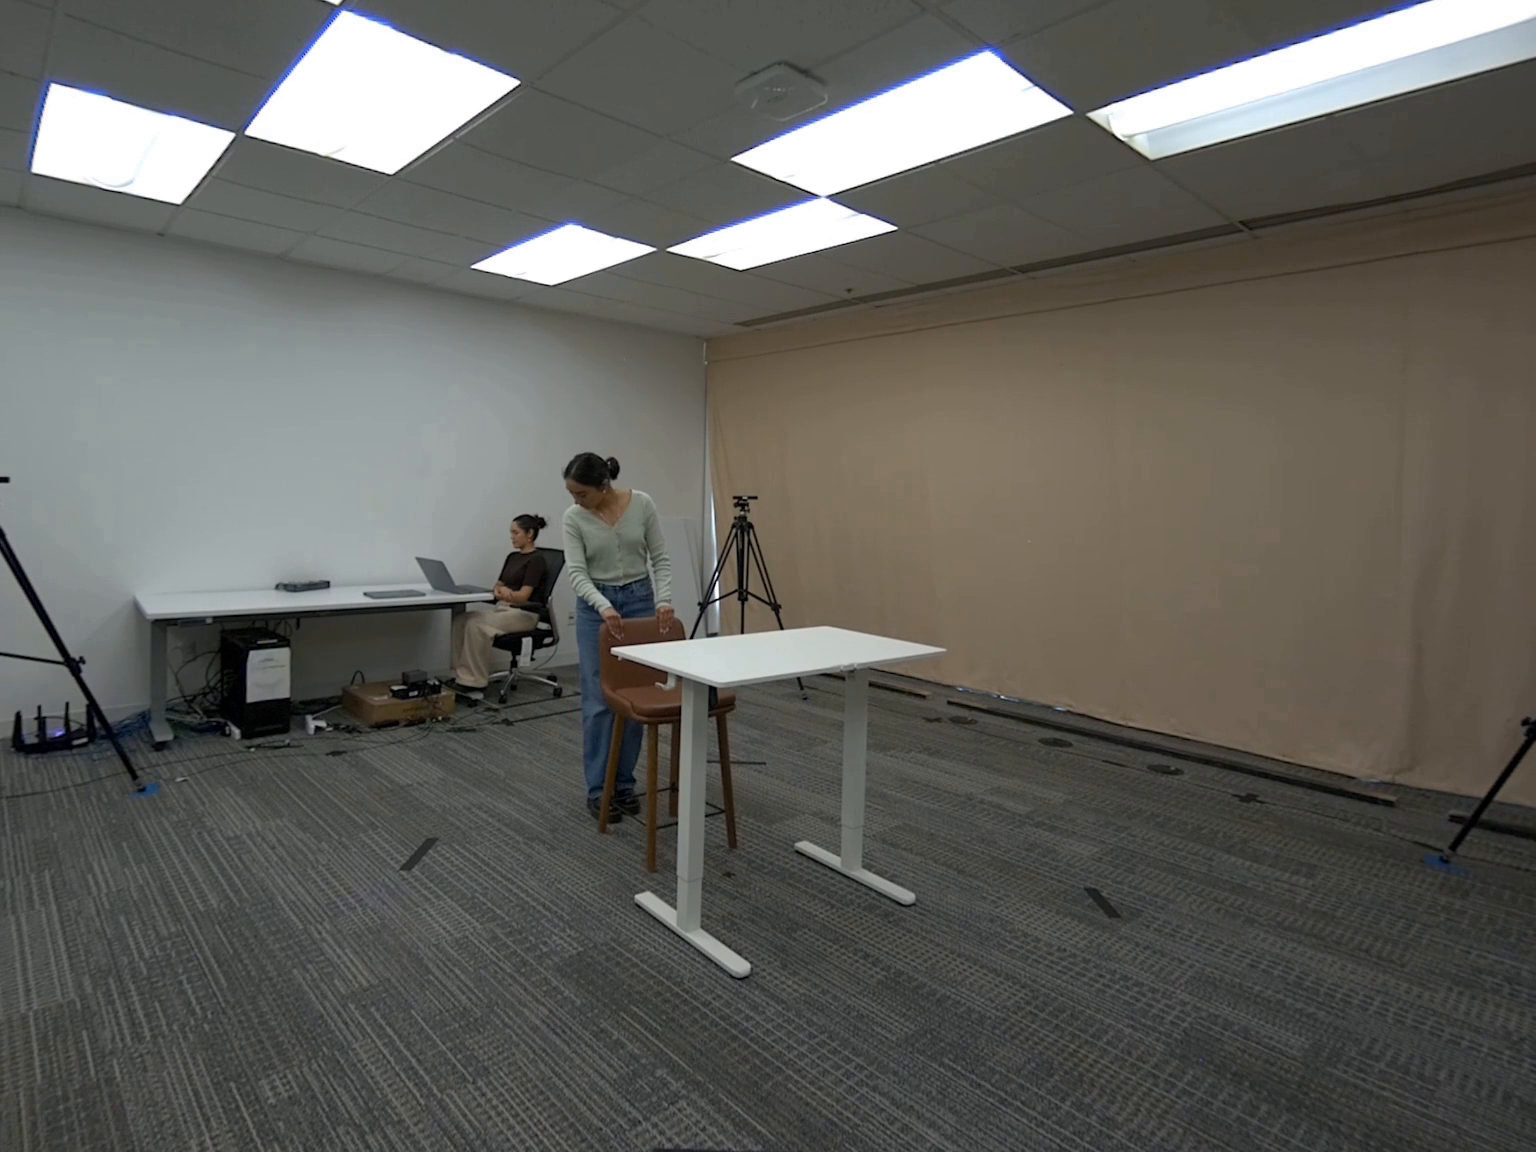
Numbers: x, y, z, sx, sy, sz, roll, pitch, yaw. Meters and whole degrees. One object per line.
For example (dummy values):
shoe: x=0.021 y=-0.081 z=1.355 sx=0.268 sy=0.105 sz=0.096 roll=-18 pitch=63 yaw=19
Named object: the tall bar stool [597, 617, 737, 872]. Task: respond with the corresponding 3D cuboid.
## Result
tall bar stool: x=-0.421 y=0.630 z=3.389 sx=0.446 sy=0.889 sz=0.479 roll=-1 pitch=2 yaw=-37
